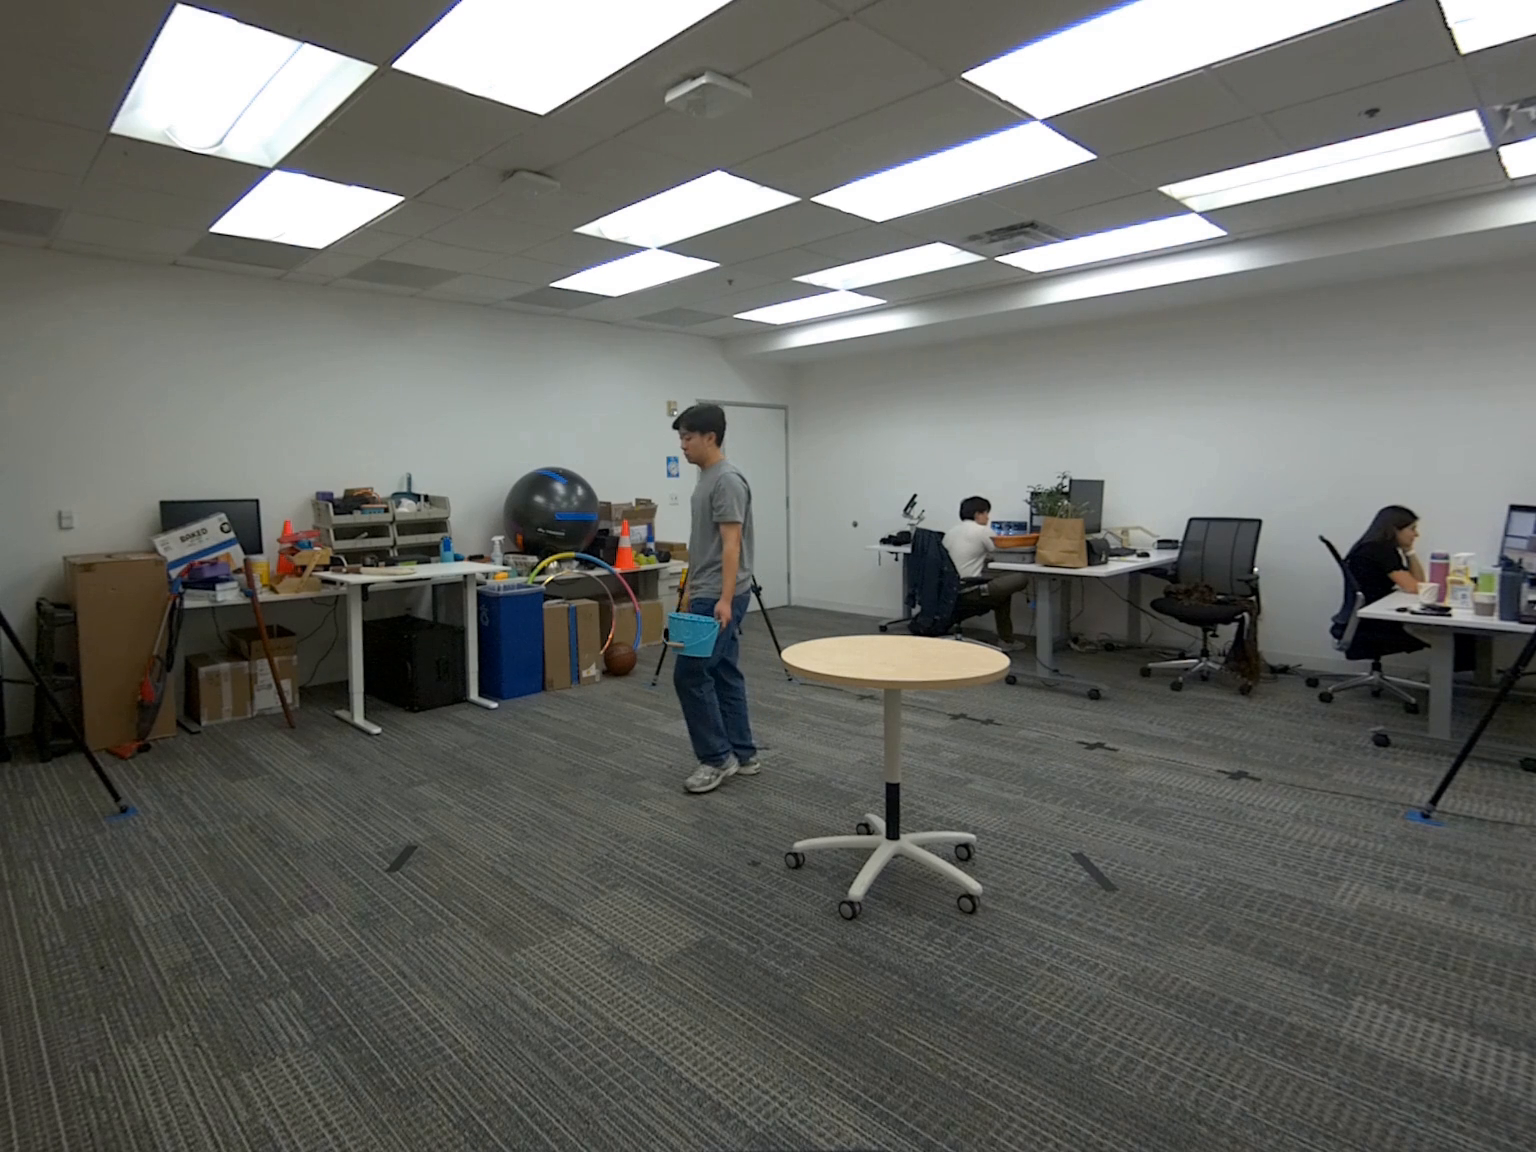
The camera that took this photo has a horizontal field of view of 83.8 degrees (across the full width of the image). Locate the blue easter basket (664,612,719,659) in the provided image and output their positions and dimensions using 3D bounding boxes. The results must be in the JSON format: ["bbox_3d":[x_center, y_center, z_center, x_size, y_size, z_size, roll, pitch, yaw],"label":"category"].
[{"bbox_3d":[-0.336,0.254,3.618,0.243,0.156,0.244,7,0,-2],"label":"blue easter basket"}]
